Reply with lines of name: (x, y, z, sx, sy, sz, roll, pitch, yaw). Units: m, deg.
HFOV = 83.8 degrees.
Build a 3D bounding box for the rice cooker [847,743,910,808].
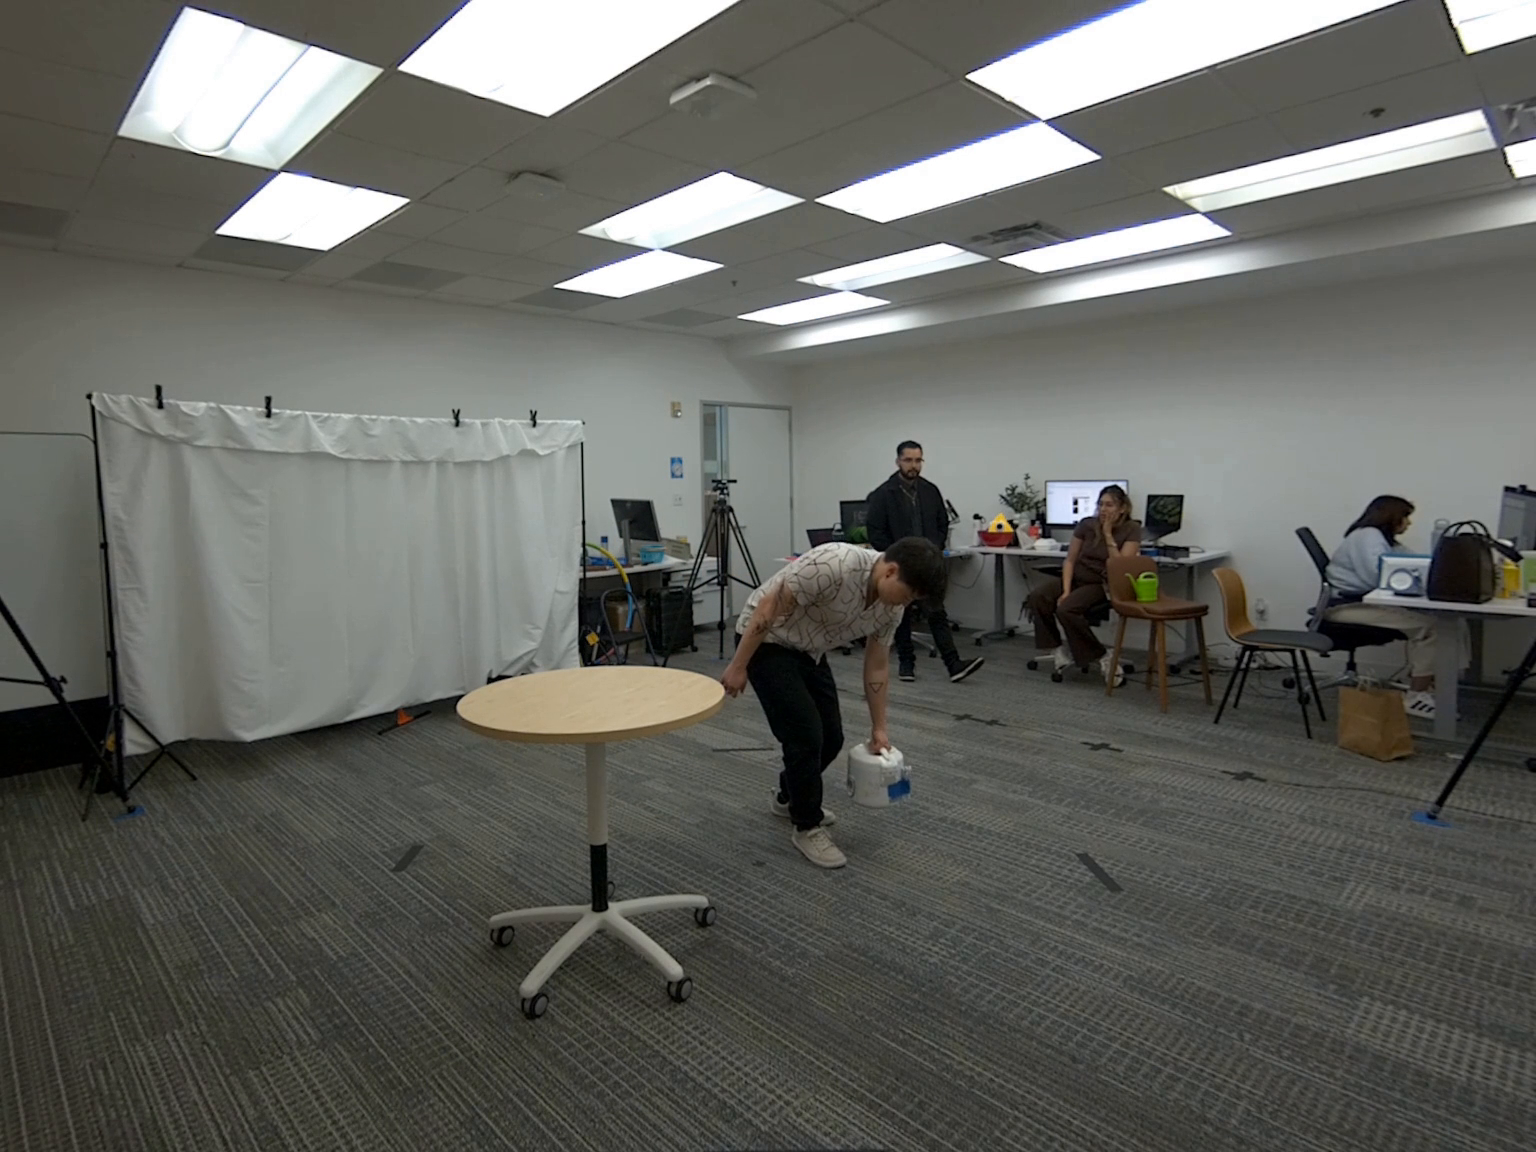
rice cooker: (0.405, 0.747, 3.260, 0.213, 0.232, 0.226, -1, 6, -21)
